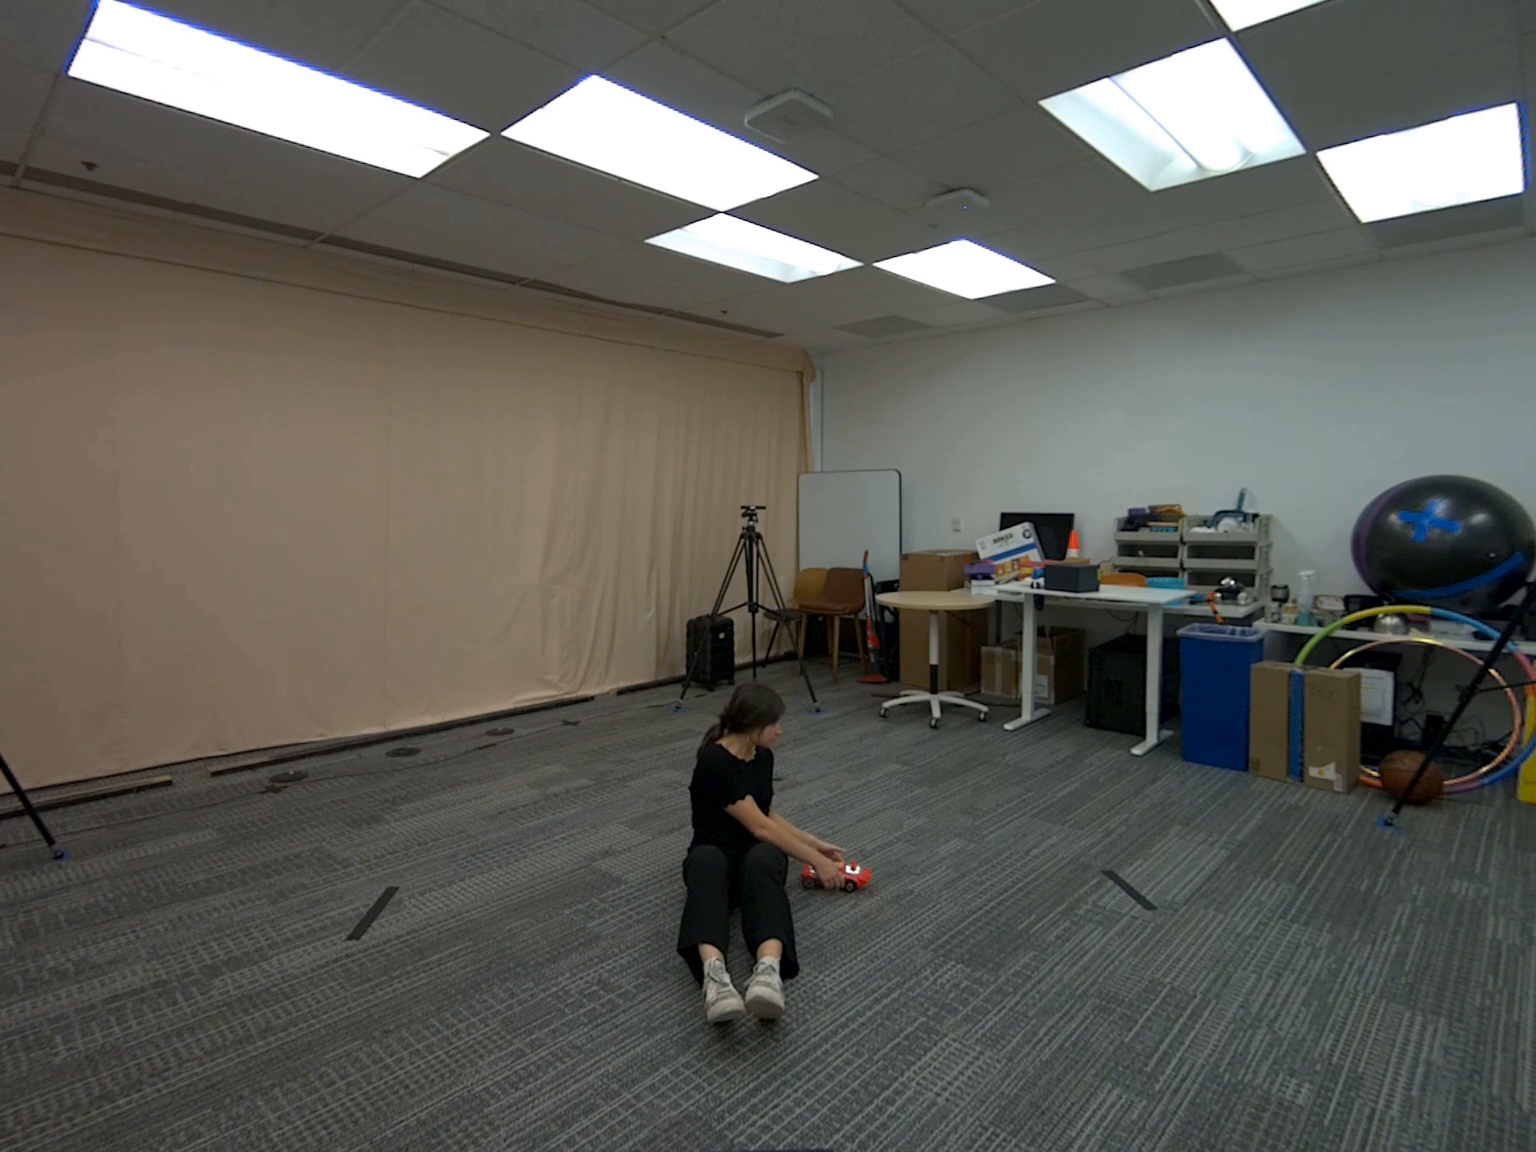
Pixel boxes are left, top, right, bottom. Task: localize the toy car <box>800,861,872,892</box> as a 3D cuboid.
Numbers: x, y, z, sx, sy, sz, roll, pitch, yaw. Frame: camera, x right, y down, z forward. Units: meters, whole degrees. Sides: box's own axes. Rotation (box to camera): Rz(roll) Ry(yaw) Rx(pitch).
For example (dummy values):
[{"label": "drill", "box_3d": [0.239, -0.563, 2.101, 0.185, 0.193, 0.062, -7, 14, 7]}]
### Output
[{"label": "toy car", "box_3d": [0.260, 1.101, 3.085, 0.258, 0.083, 0.129, -11, 2, 13]}]
